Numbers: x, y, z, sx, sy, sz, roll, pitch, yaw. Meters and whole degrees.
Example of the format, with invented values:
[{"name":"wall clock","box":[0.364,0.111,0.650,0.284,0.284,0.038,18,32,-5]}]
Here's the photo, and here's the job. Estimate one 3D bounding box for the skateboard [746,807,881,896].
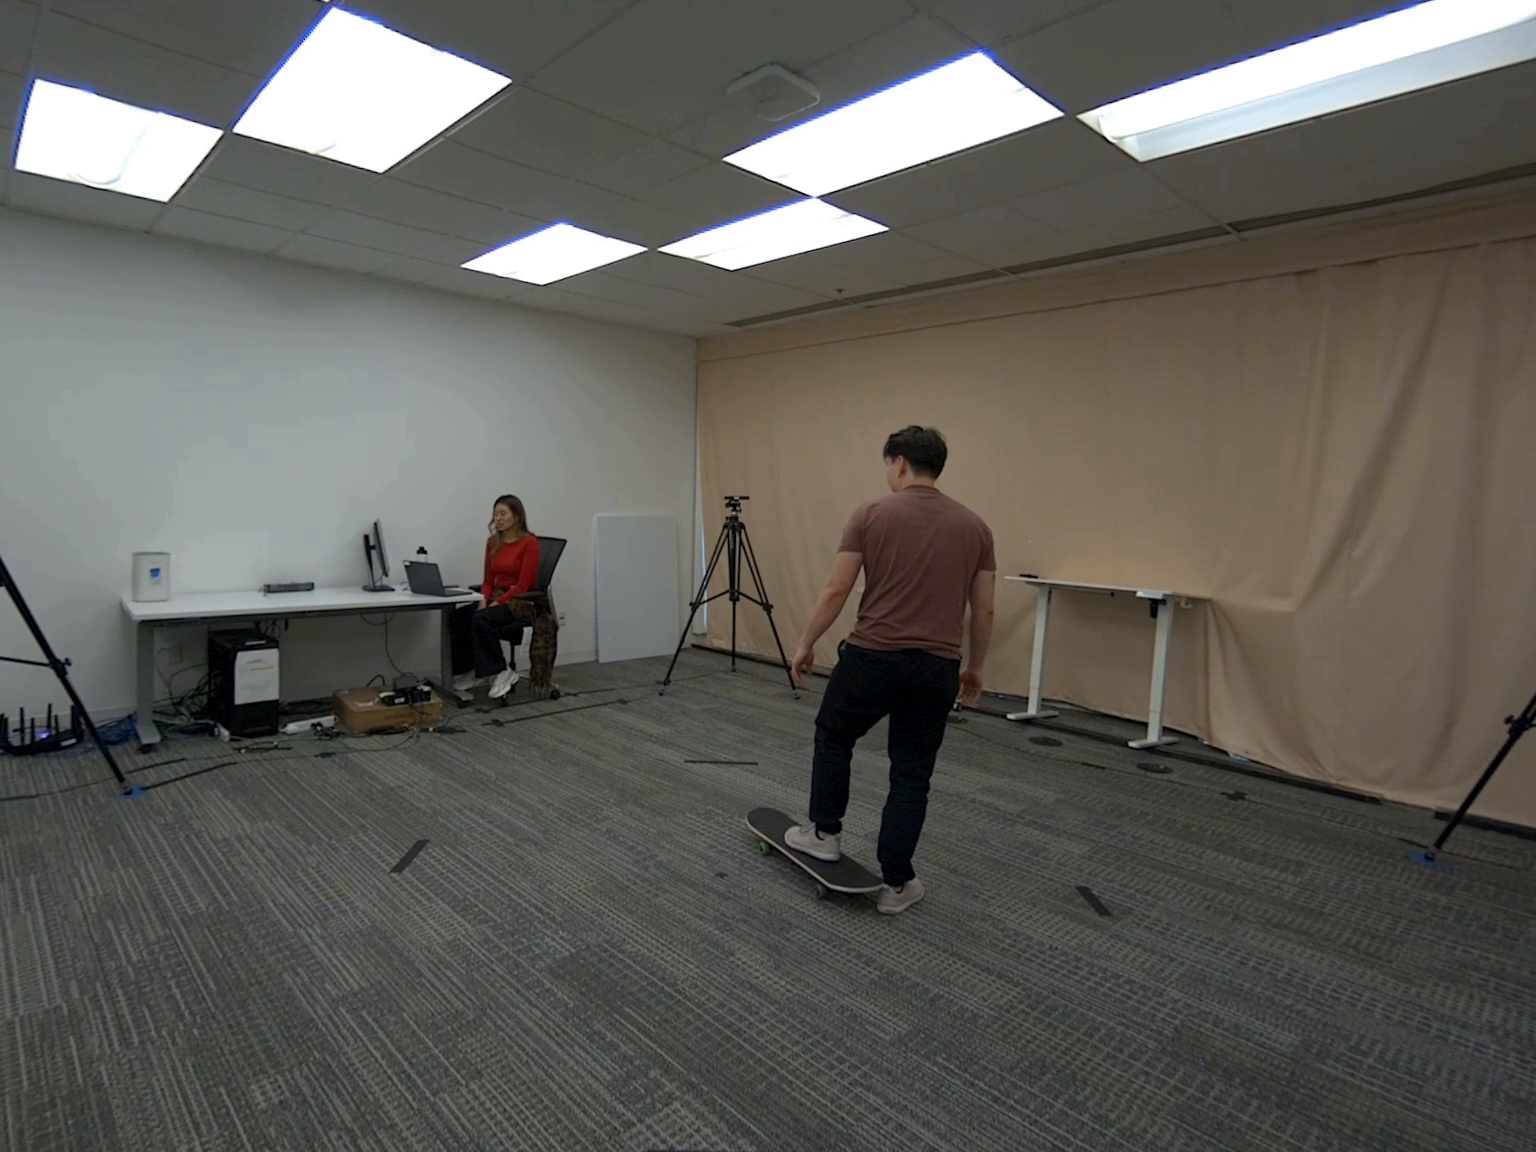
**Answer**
[{"name":"skateboard","box":[0.145,1.051,3.155,0.190,0.110,0.803,0,5,-28]}]
